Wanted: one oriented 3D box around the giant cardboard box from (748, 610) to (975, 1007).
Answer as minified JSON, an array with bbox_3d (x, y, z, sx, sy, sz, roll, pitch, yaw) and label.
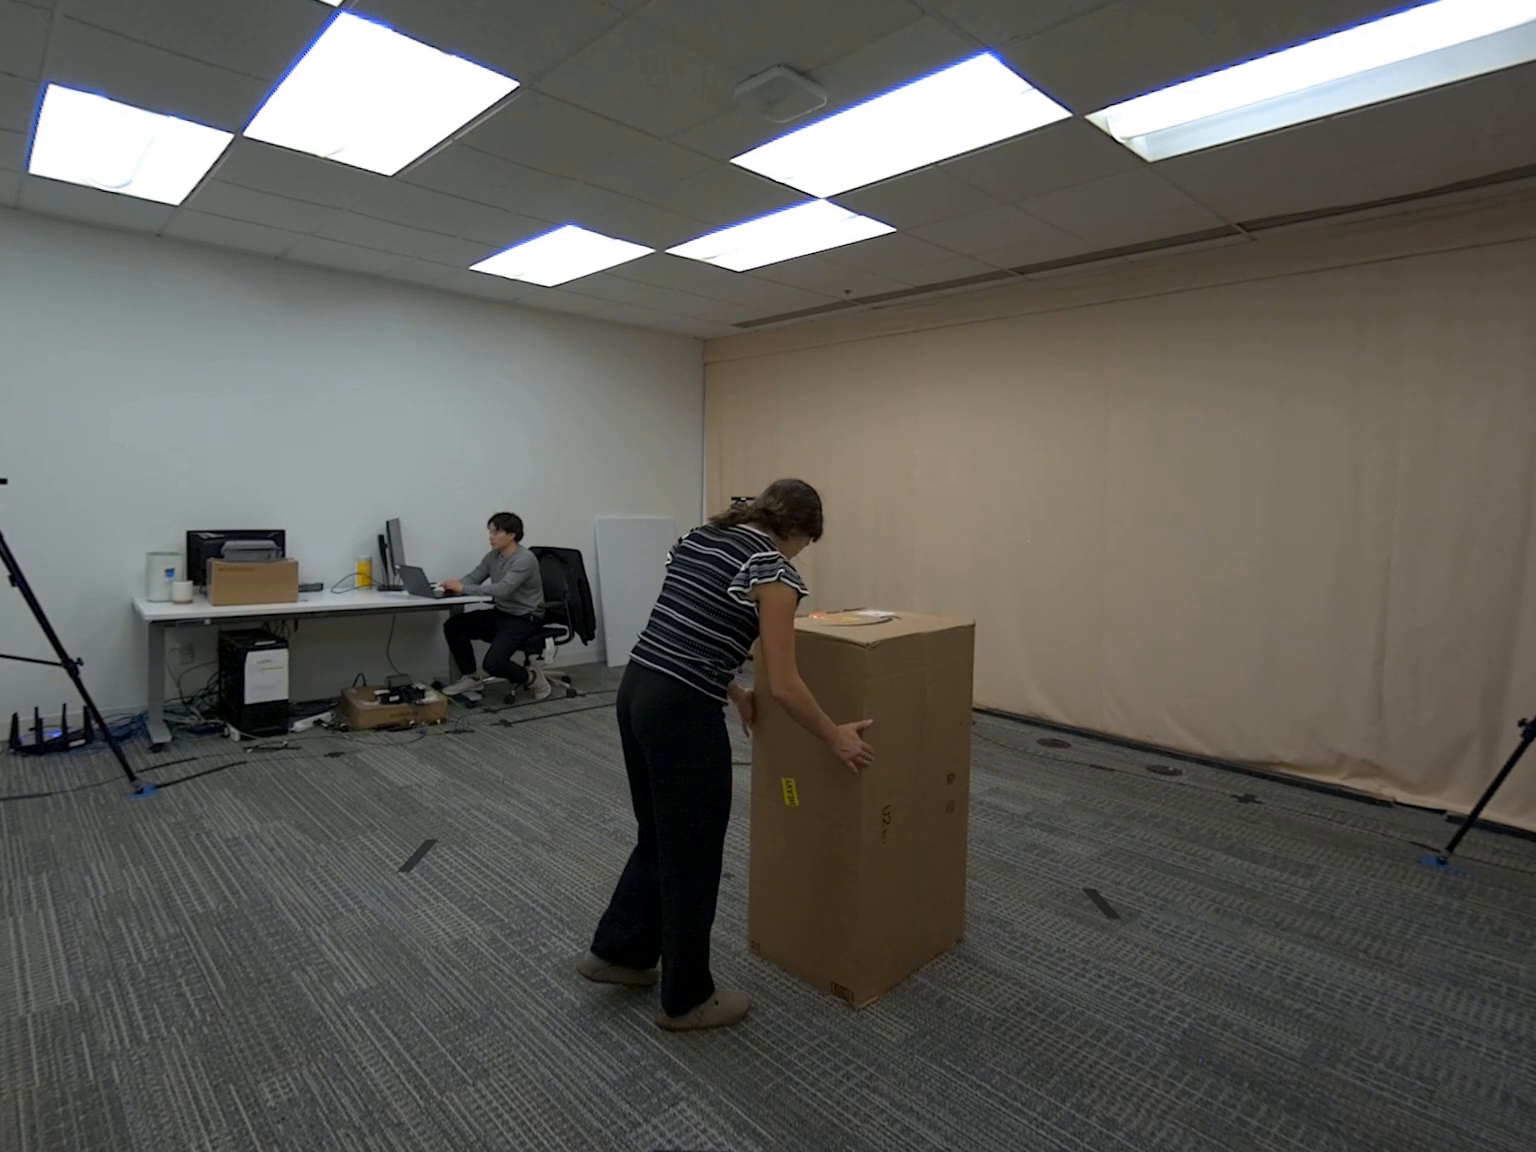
[{"bbox_3d":[0.291,0.651,2.616,0.437,1.023,0.564,5,5,44],"label":"giant cardboard box"}]
